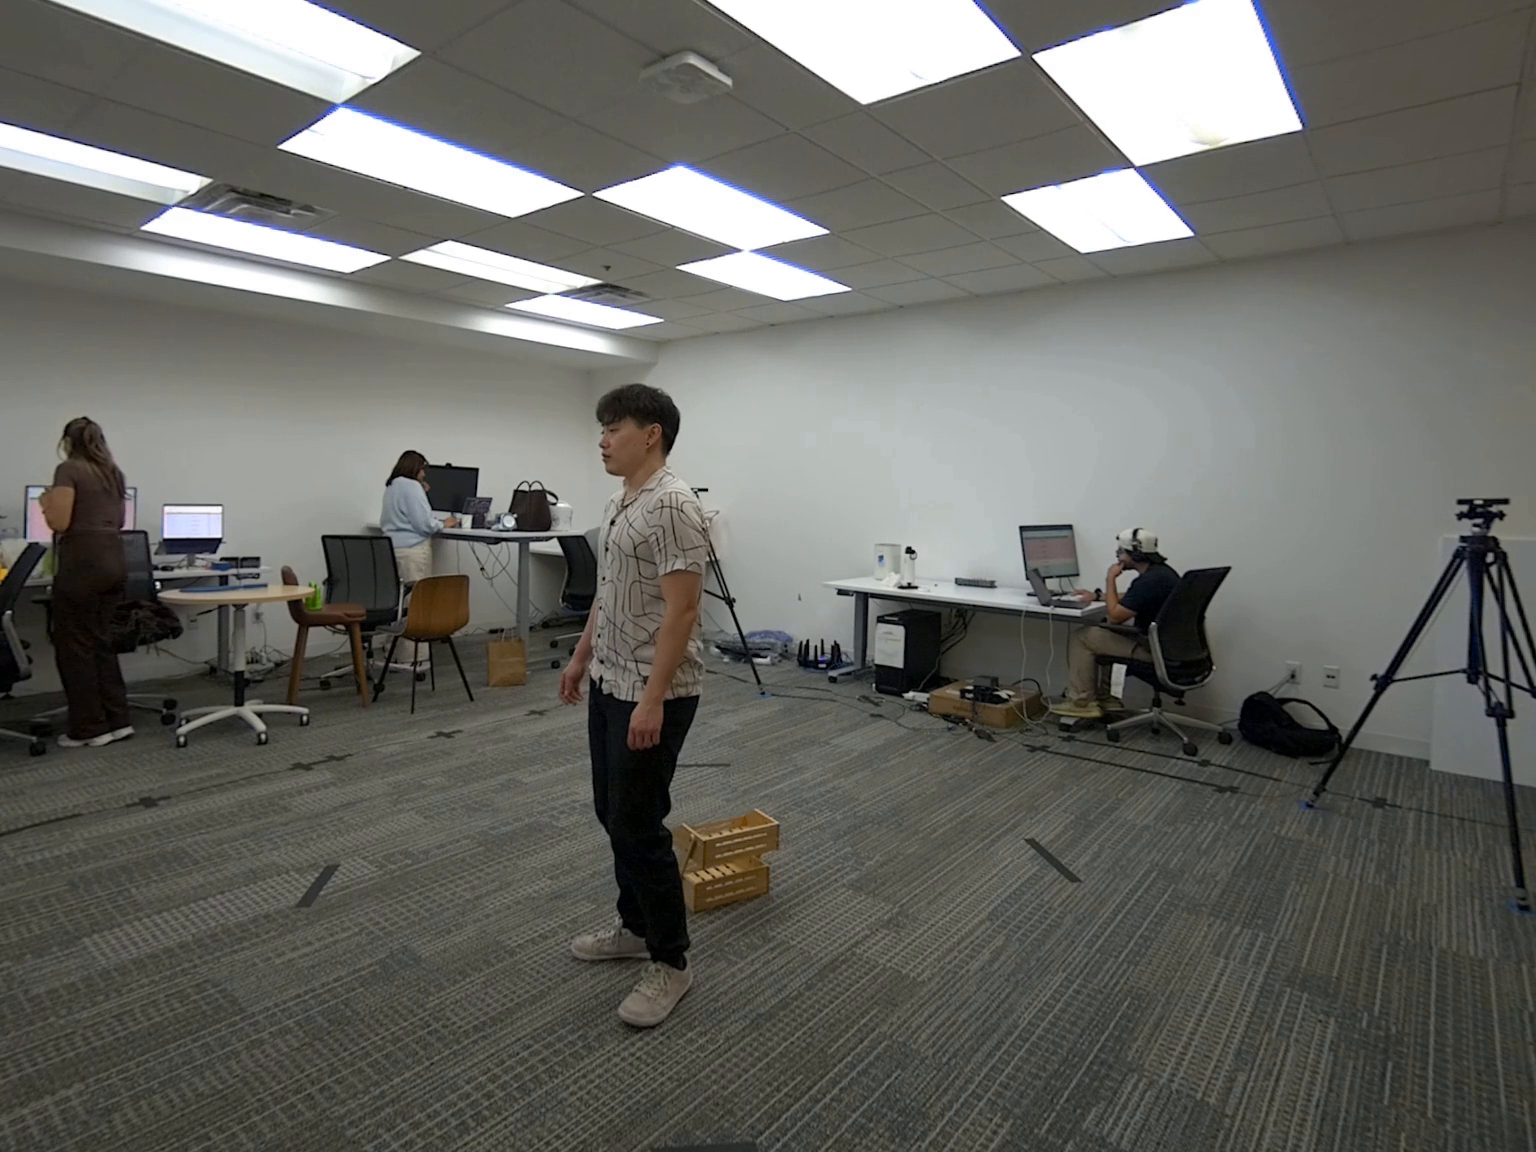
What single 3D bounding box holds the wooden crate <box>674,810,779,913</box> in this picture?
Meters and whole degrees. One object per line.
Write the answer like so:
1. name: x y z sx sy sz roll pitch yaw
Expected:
1. wooden crate: -0.182 0.950 2.945 0.315 0.272 0.312 -1 5 -33
